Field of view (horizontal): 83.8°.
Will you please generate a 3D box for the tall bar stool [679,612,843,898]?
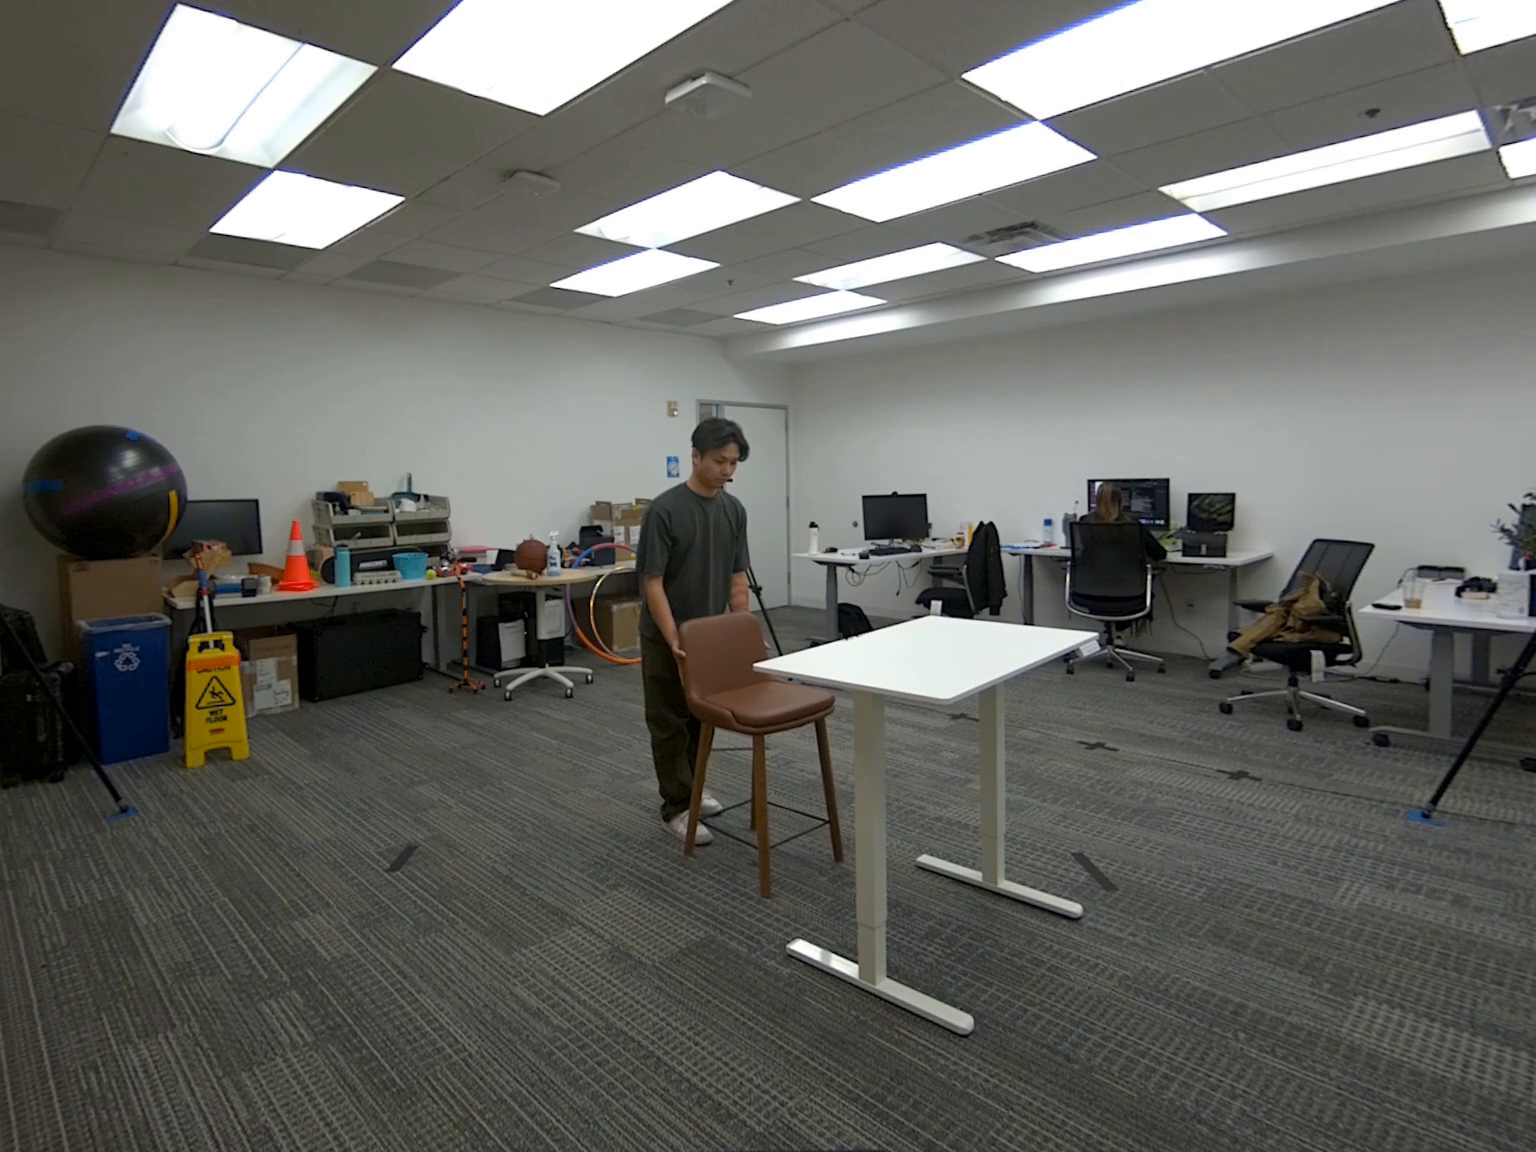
[{"bbox_3d":[-0.035,0.606,3.124,0.444,0.887,0.481,-5,4,-43],"label":"tall bar stool"}]
